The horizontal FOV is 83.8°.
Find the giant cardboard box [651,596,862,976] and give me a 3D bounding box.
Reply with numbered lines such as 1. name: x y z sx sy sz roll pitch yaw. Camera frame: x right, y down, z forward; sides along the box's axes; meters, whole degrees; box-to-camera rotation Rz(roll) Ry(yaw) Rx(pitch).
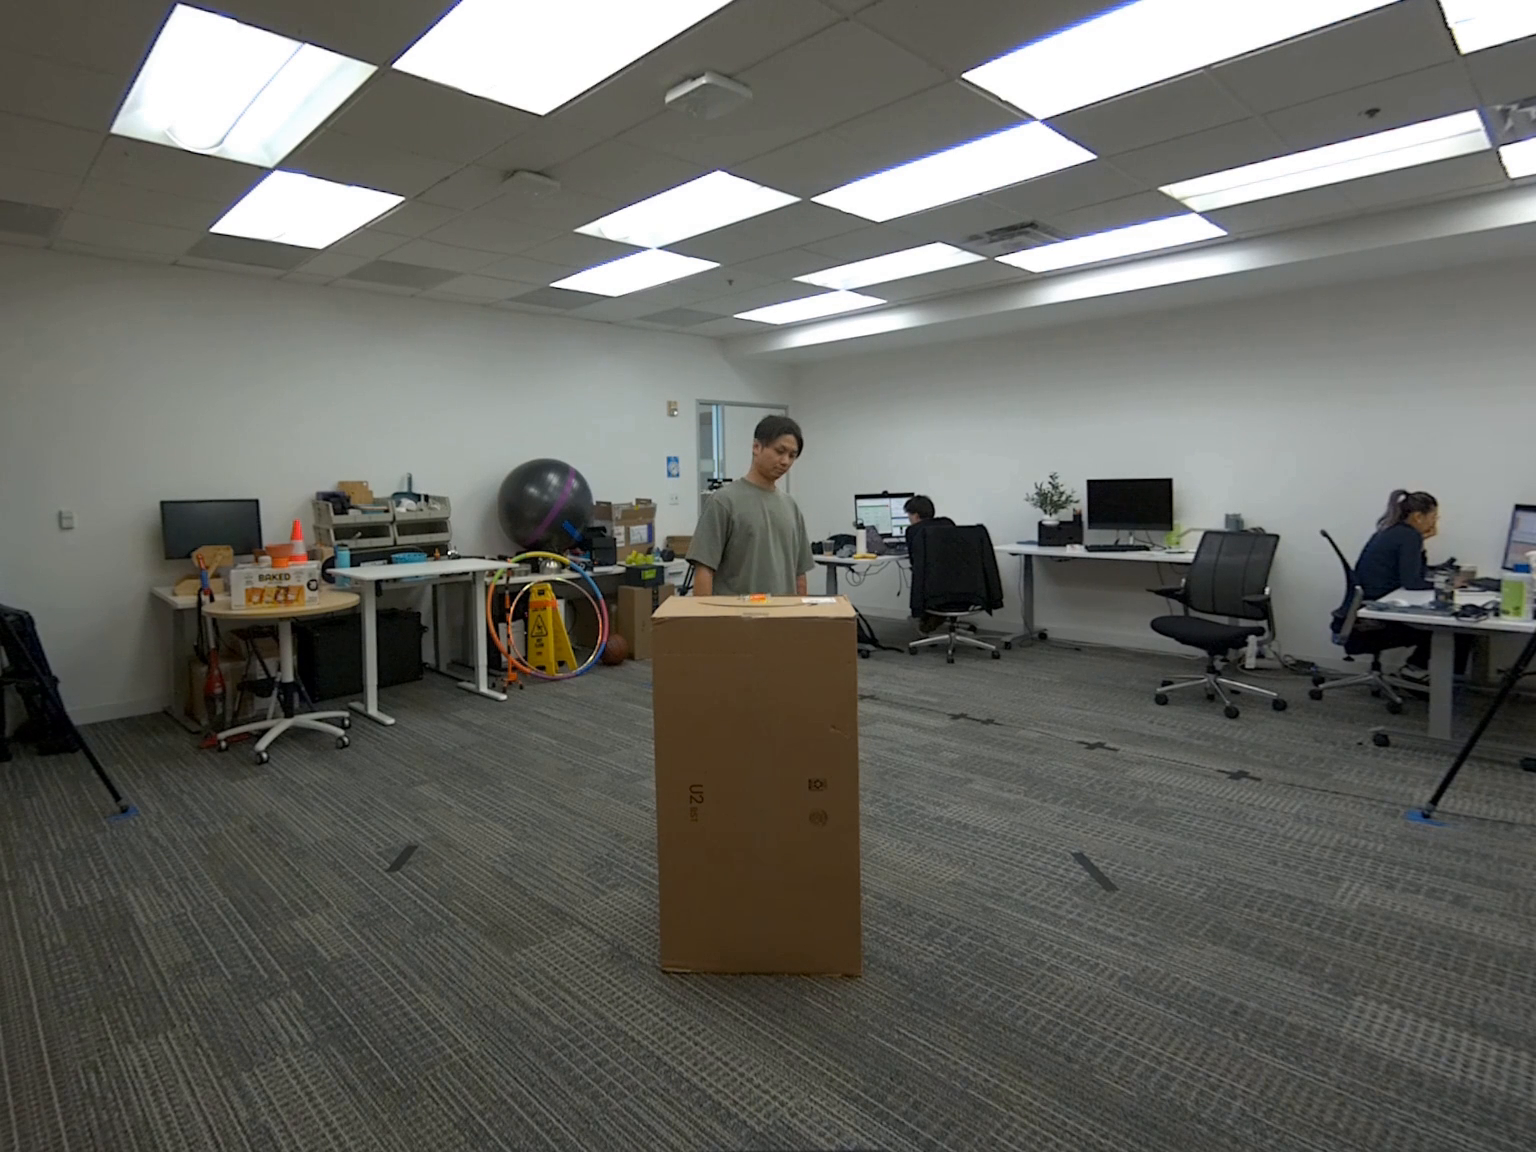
1. giant cardboard box: -0.022 0.601 2.585 0.579 1.021 0.427 -1 5 2
